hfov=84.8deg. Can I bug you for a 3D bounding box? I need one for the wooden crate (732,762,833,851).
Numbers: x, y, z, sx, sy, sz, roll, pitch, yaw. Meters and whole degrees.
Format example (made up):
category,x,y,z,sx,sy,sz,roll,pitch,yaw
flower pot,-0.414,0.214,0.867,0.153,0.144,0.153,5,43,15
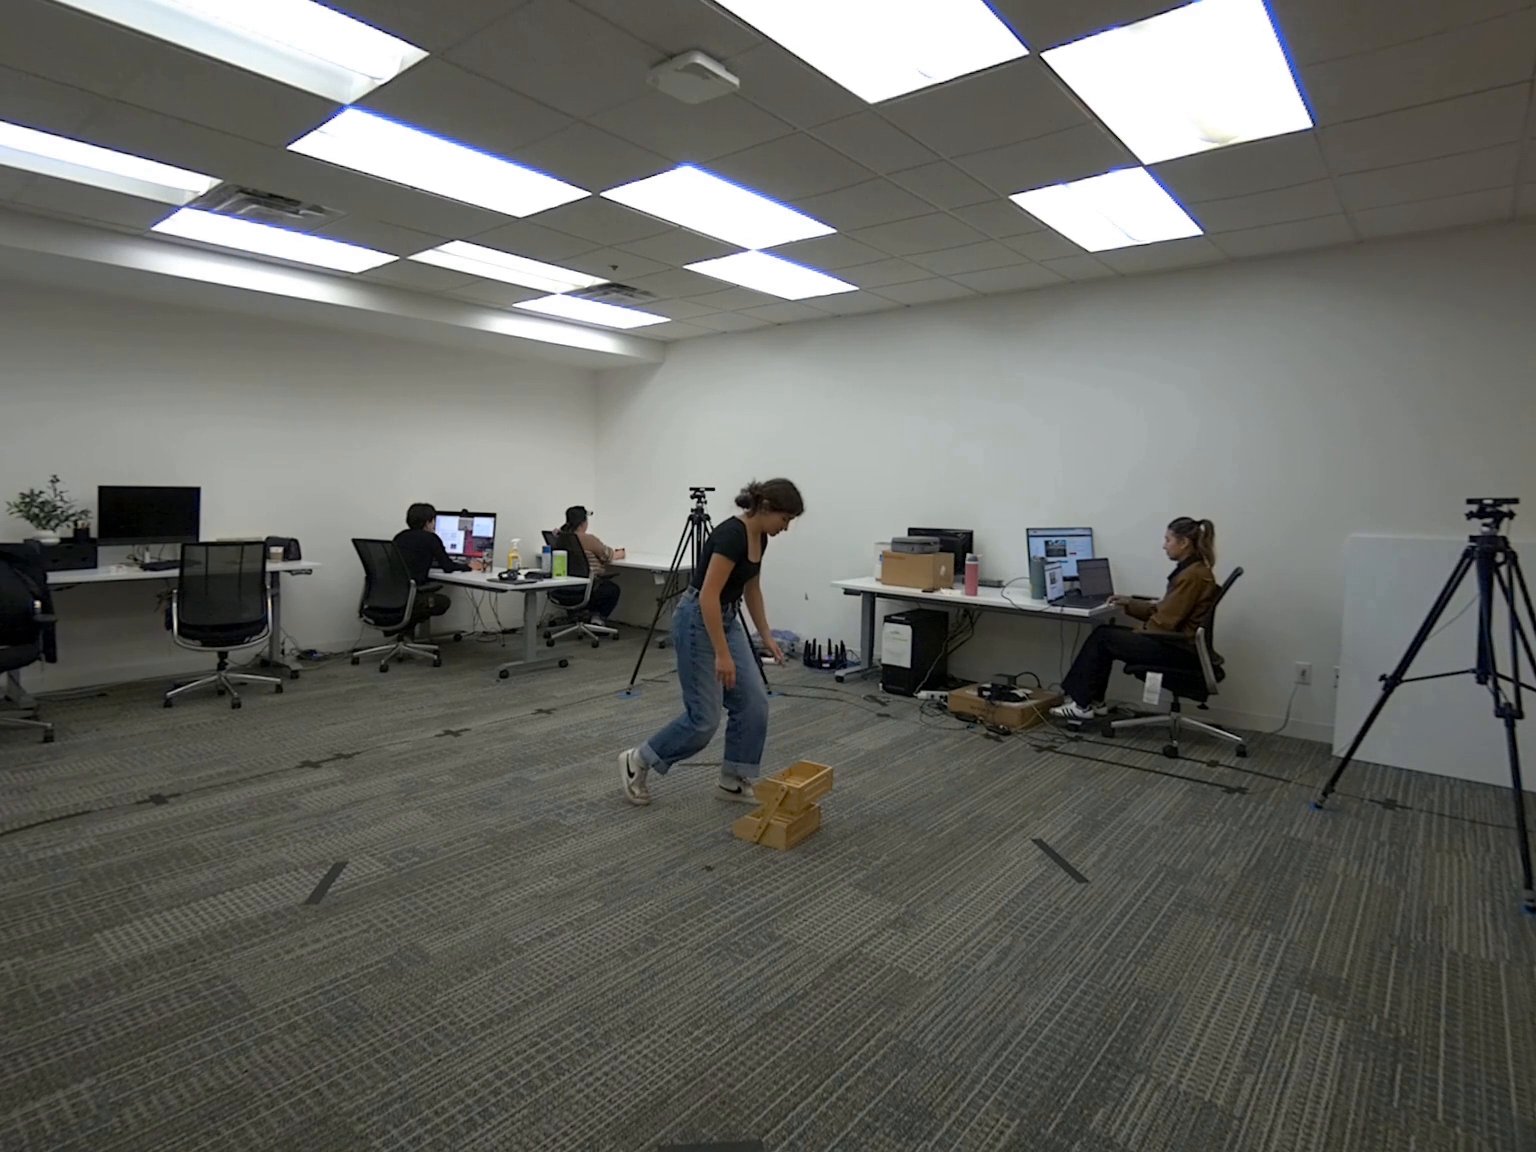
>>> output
category,x,y,z,sx,sy,sz,roll,pitch,yaw
wooden crate,0.052,0.905,3.451,0.311,0.272,0.316,5,5,31
